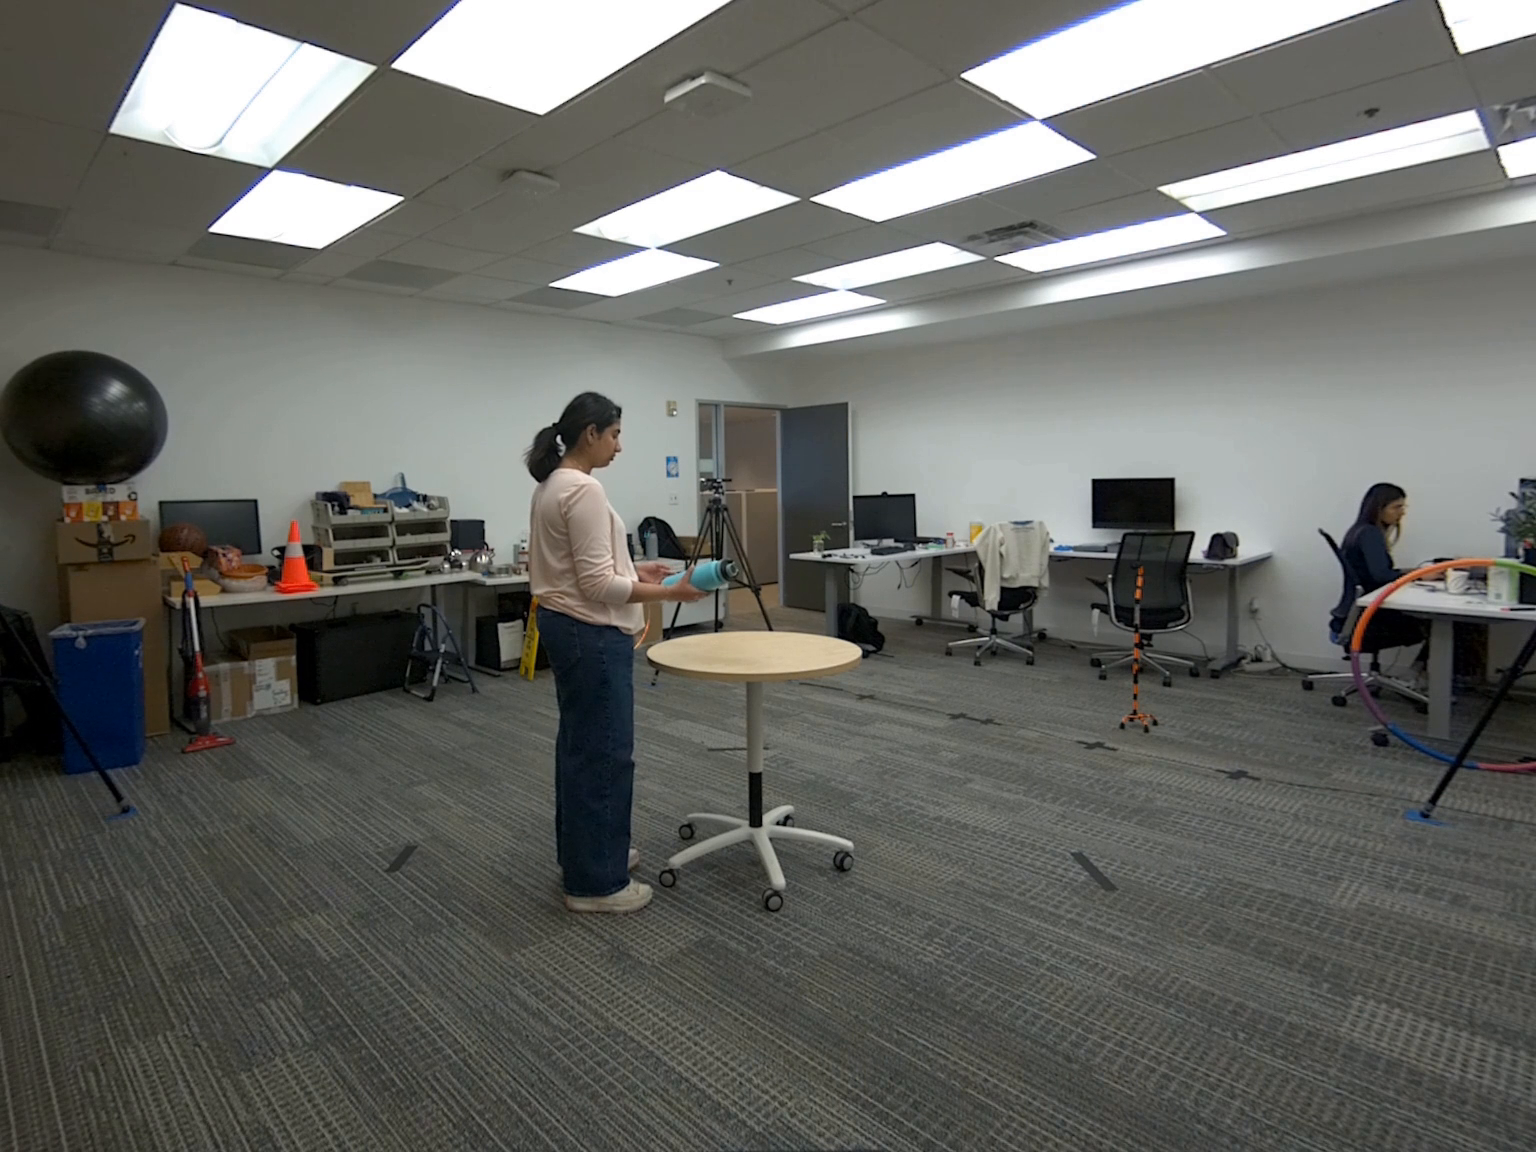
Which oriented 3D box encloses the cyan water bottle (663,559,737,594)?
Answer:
[{"bbox_3d":[-0.221,0.012,2.839,0.288,0.093,0.090,-19,-5,29],"label":"cyan water bottle"}]
